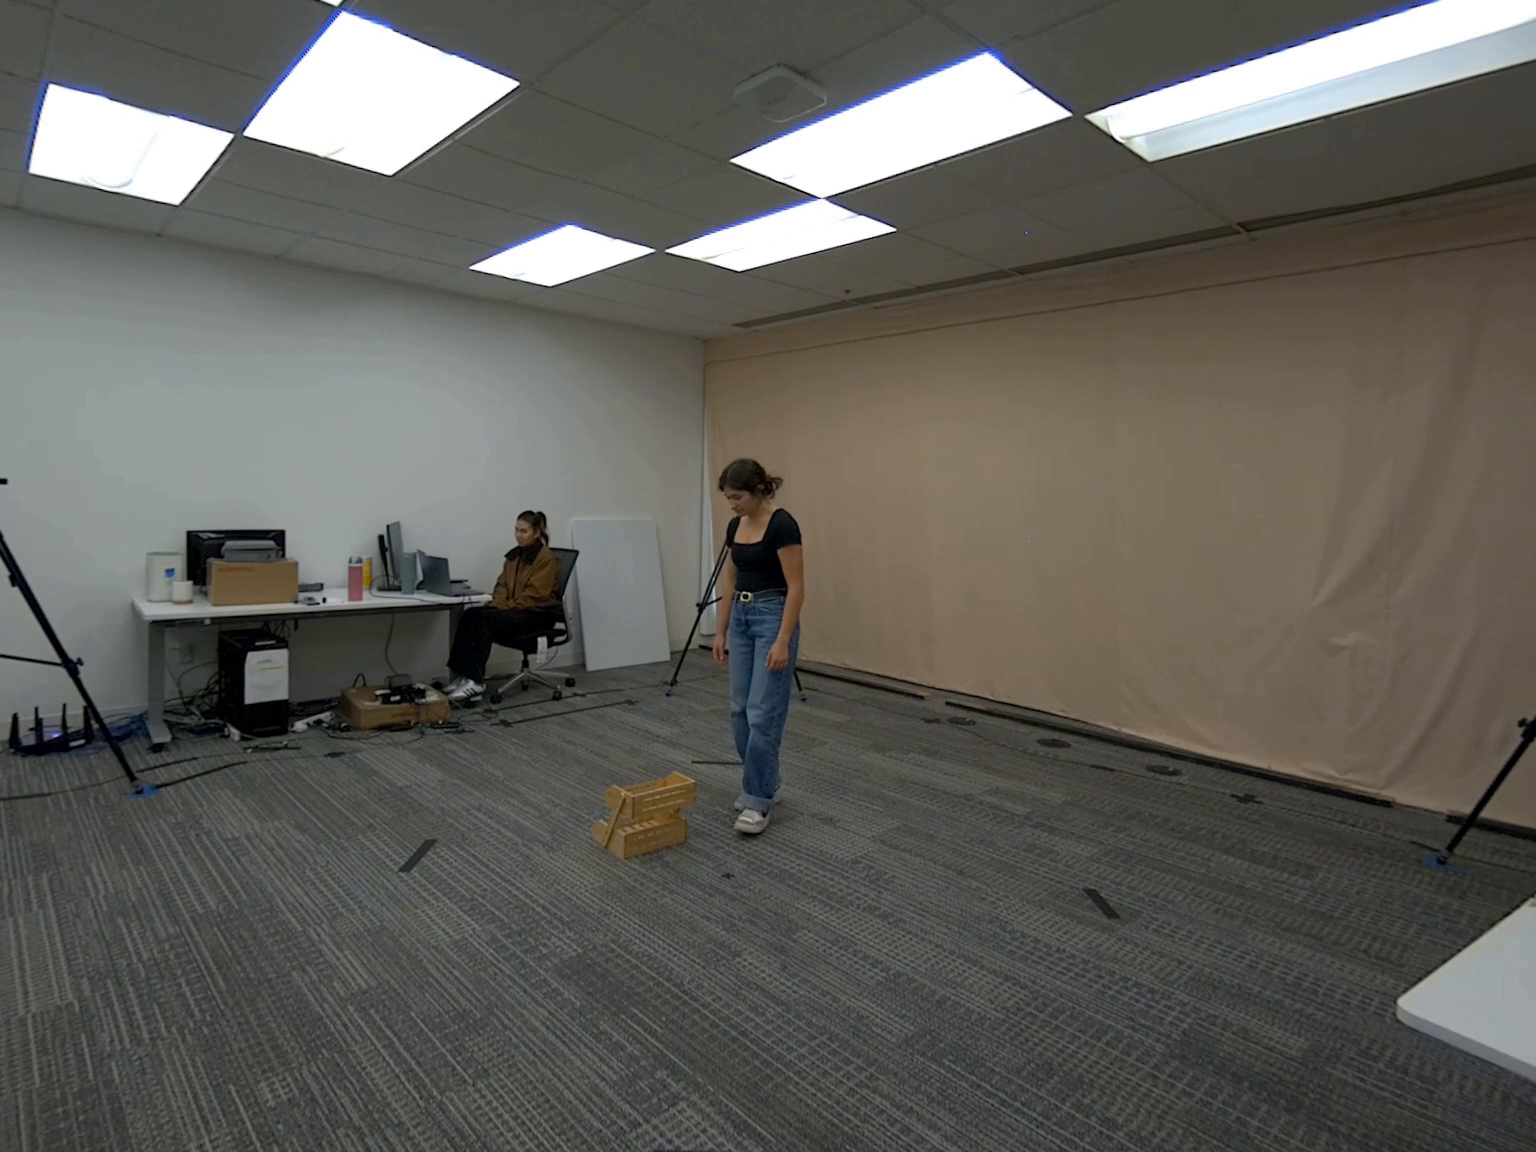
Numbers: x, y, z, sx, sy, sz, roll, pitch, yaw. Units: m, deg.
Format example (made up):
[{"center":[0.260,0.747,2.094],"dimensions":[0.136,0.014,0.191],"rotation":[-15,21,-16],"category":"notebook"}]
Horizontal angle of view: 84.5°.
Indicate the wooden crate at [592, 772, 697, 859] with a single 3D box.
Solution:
[{"center":[-0.513,0.940,3.391],"dimensions":[0.317,0.272,0.310],"rotation":[-2,6,-41],"category":"wooden crate"}]
